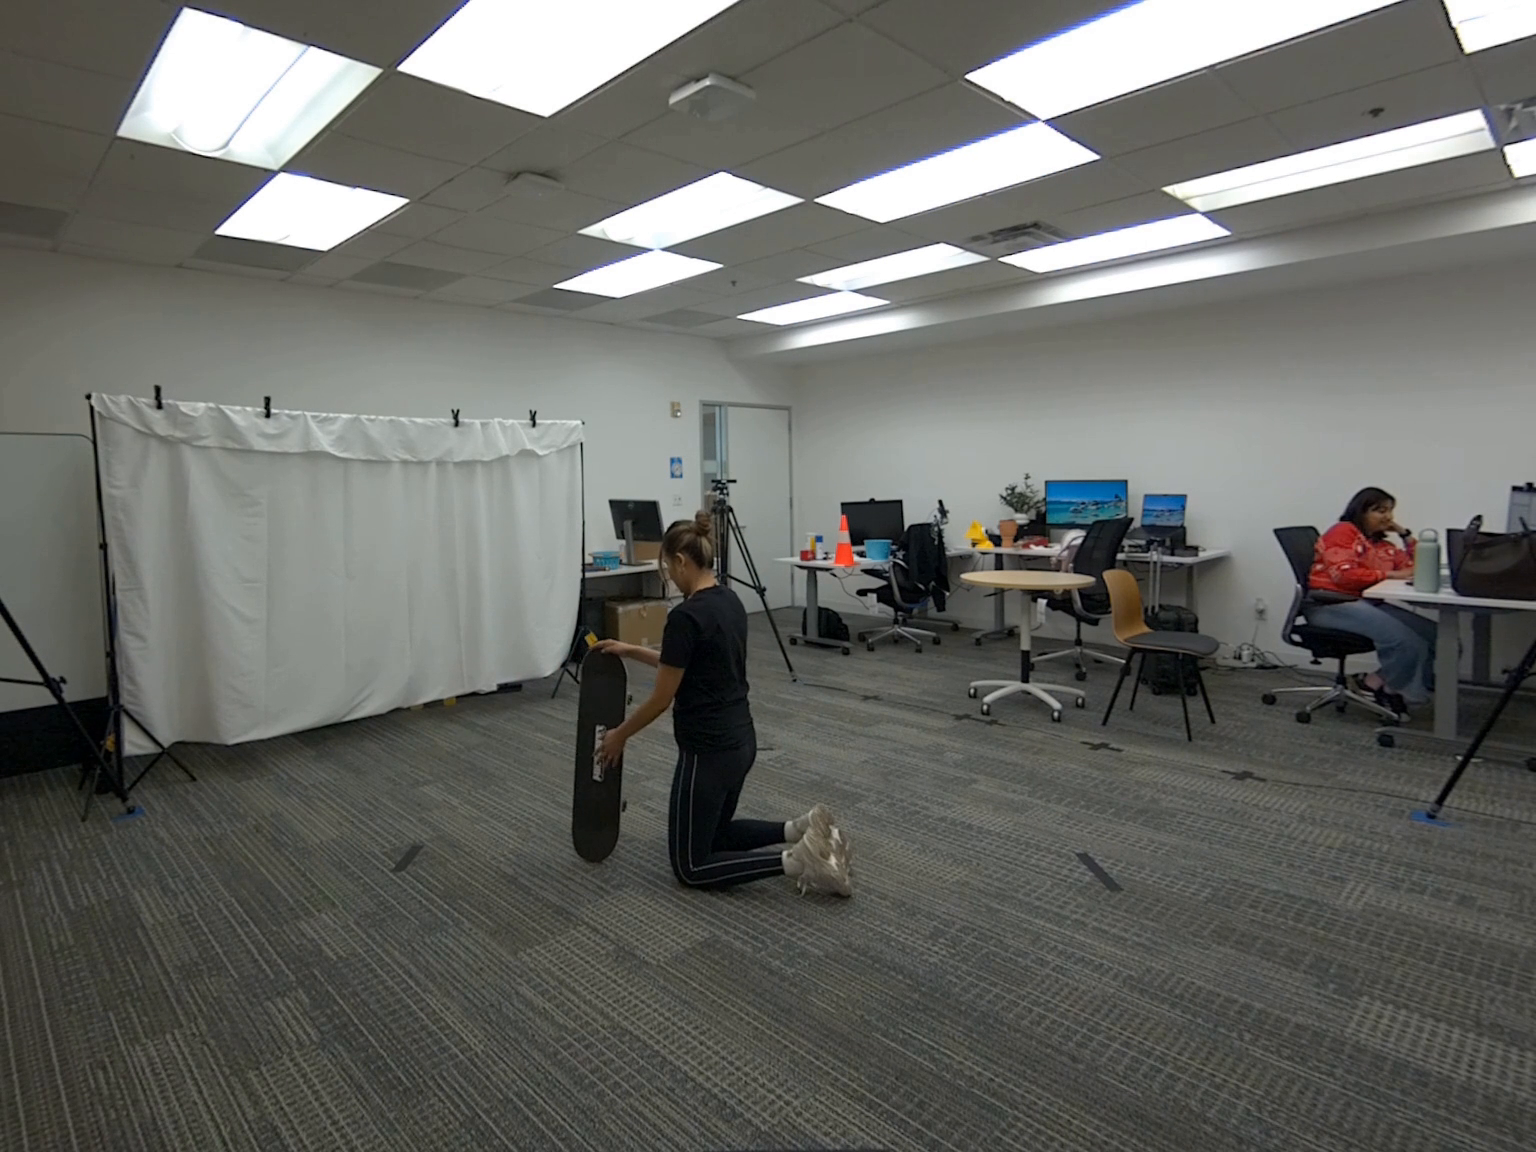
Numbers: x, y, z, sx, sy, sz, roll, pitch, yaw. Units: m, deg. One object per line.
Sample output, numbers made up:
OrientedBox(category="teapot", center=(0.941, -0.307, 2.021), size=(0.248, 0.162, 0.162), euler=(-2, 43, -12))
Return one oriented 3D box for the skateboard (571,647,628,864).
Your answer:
OrientedBox(category="skateboard", center=(-0.618, 0.660, 3.218), size=(0.196, 0.788, 0.108), euler=(2, -4, 15))
